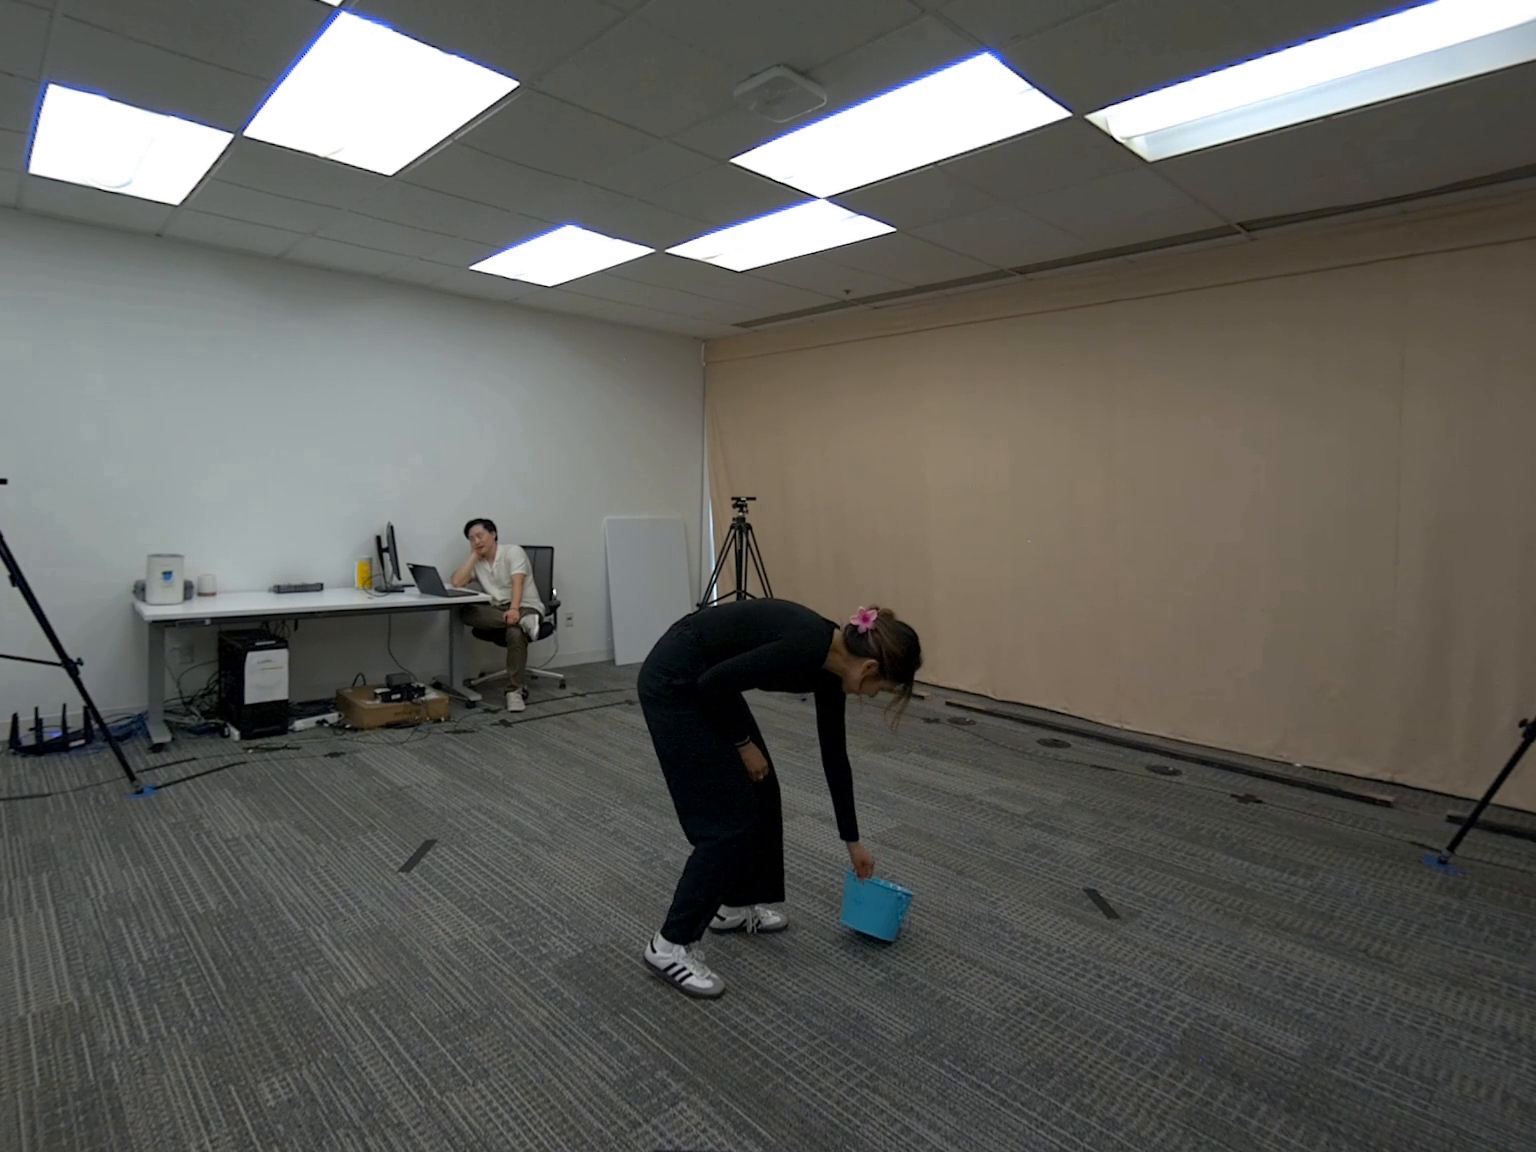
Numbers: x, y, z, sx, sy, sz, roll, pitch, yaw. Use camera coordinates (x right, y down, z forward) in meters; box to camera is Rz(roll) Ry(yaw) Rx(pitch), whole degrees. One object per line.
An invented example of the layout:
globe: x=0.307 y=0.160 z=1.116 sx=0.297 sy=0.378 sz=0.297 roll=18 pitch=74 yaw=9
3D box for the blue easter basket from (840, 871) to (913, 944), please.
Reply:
blue easter basket: x=0.347 y=1.058 z=2.679 sx=0.244 sy=0.156 sz=0.242 roll=18 pitch=-10 yaw=2
